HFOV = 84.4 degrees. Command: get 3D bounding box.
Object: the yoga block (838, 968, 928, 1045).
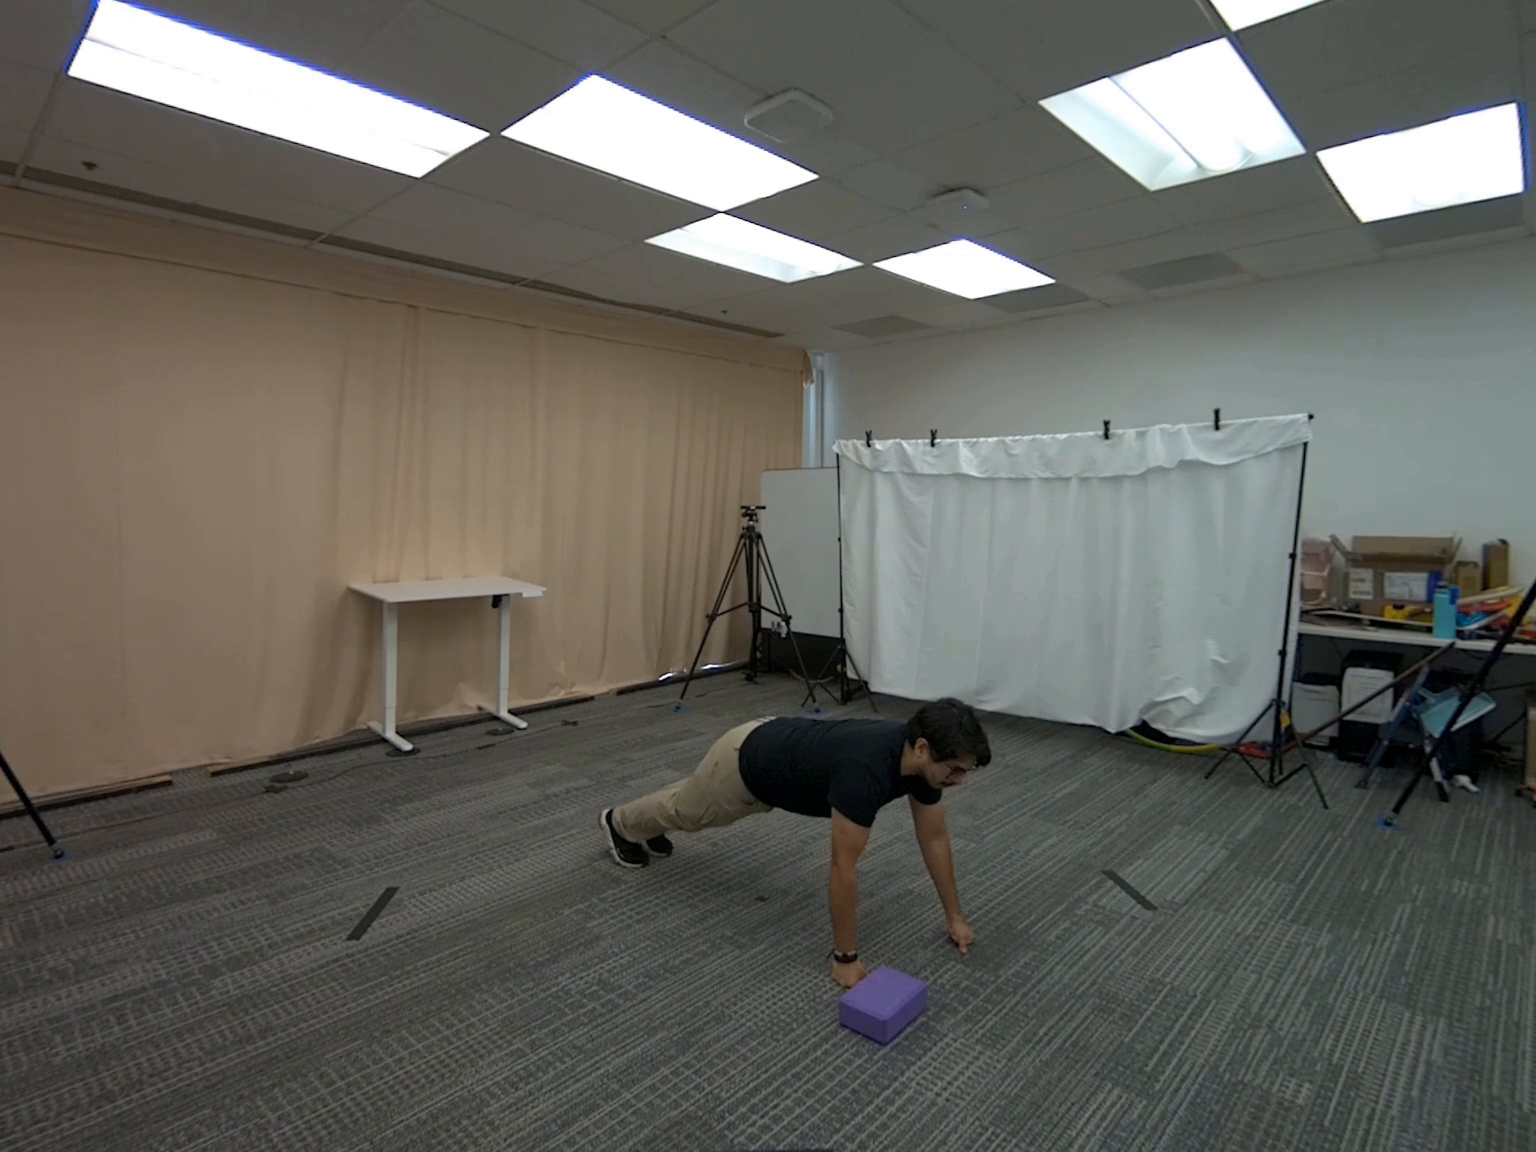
[{"bbox_3d":[0.321,1.160,2.291,0.154,0.076,0.222,5,6,40],"label":"yoga block"}]
